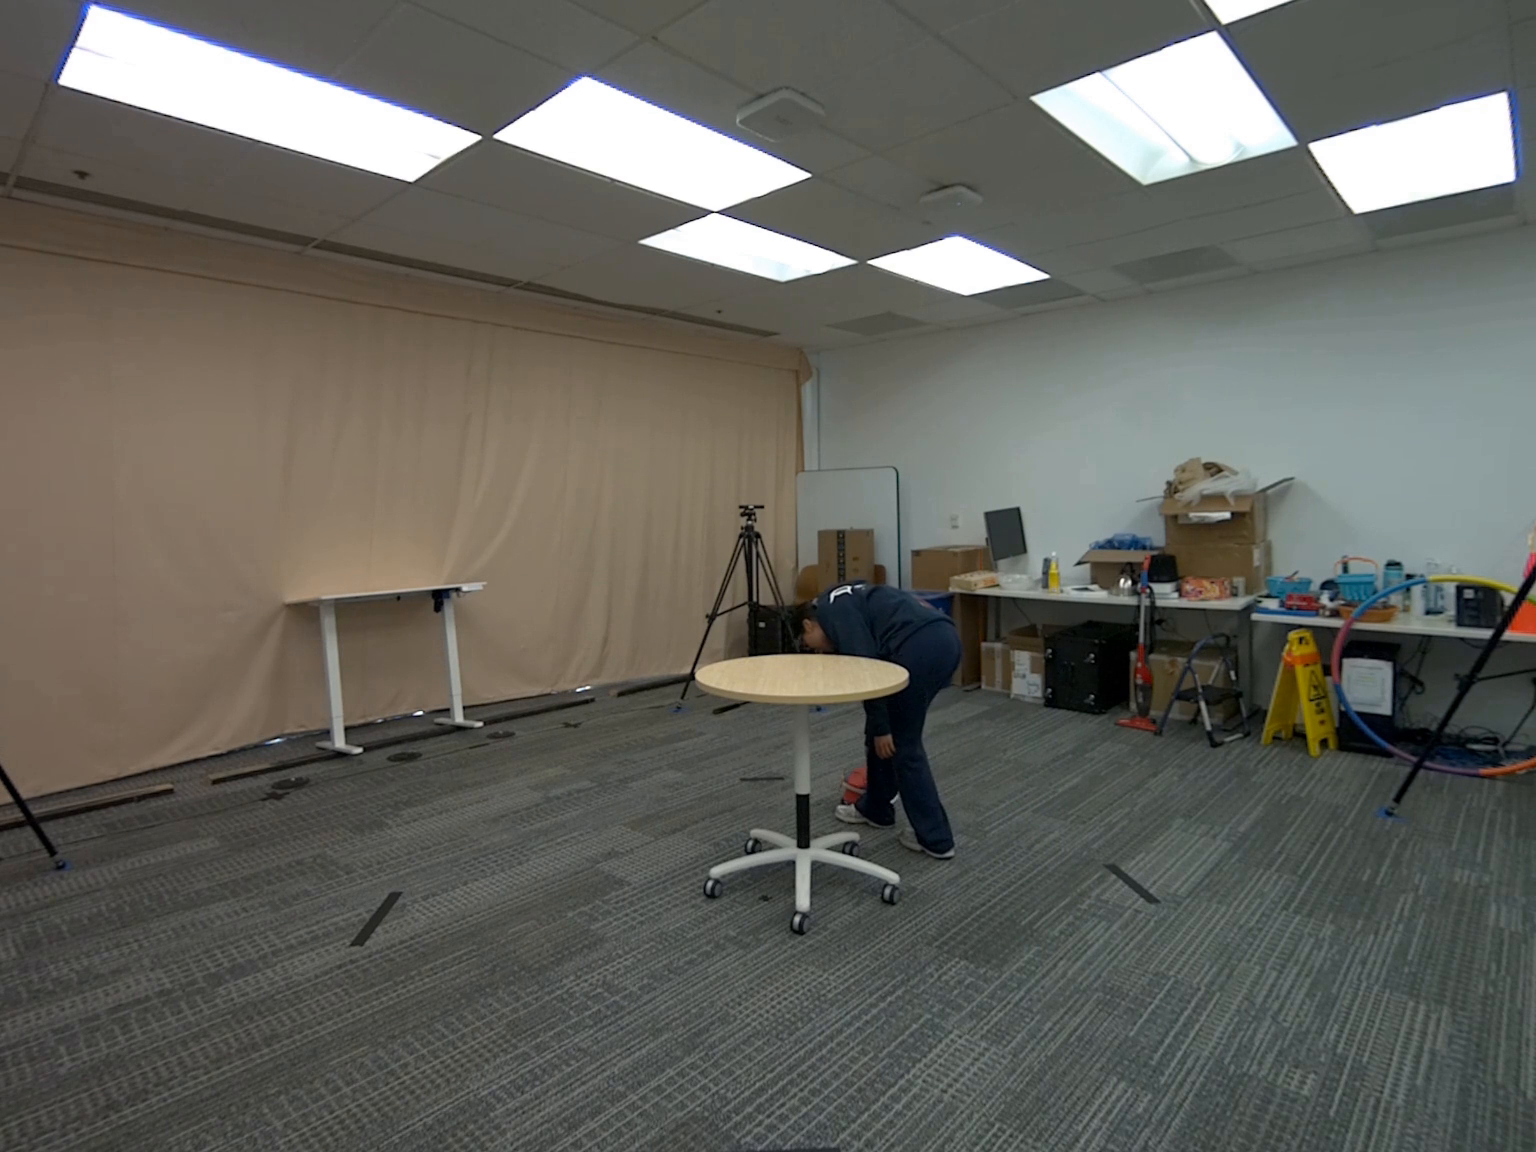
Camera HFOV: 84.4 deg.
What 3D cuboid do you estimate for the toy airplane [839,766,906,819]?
[{"bbox_3d":[0.475,0.985,3.879,0.259,0.156,0.252,-3,4,-2],"label":"toy airplane"}]
